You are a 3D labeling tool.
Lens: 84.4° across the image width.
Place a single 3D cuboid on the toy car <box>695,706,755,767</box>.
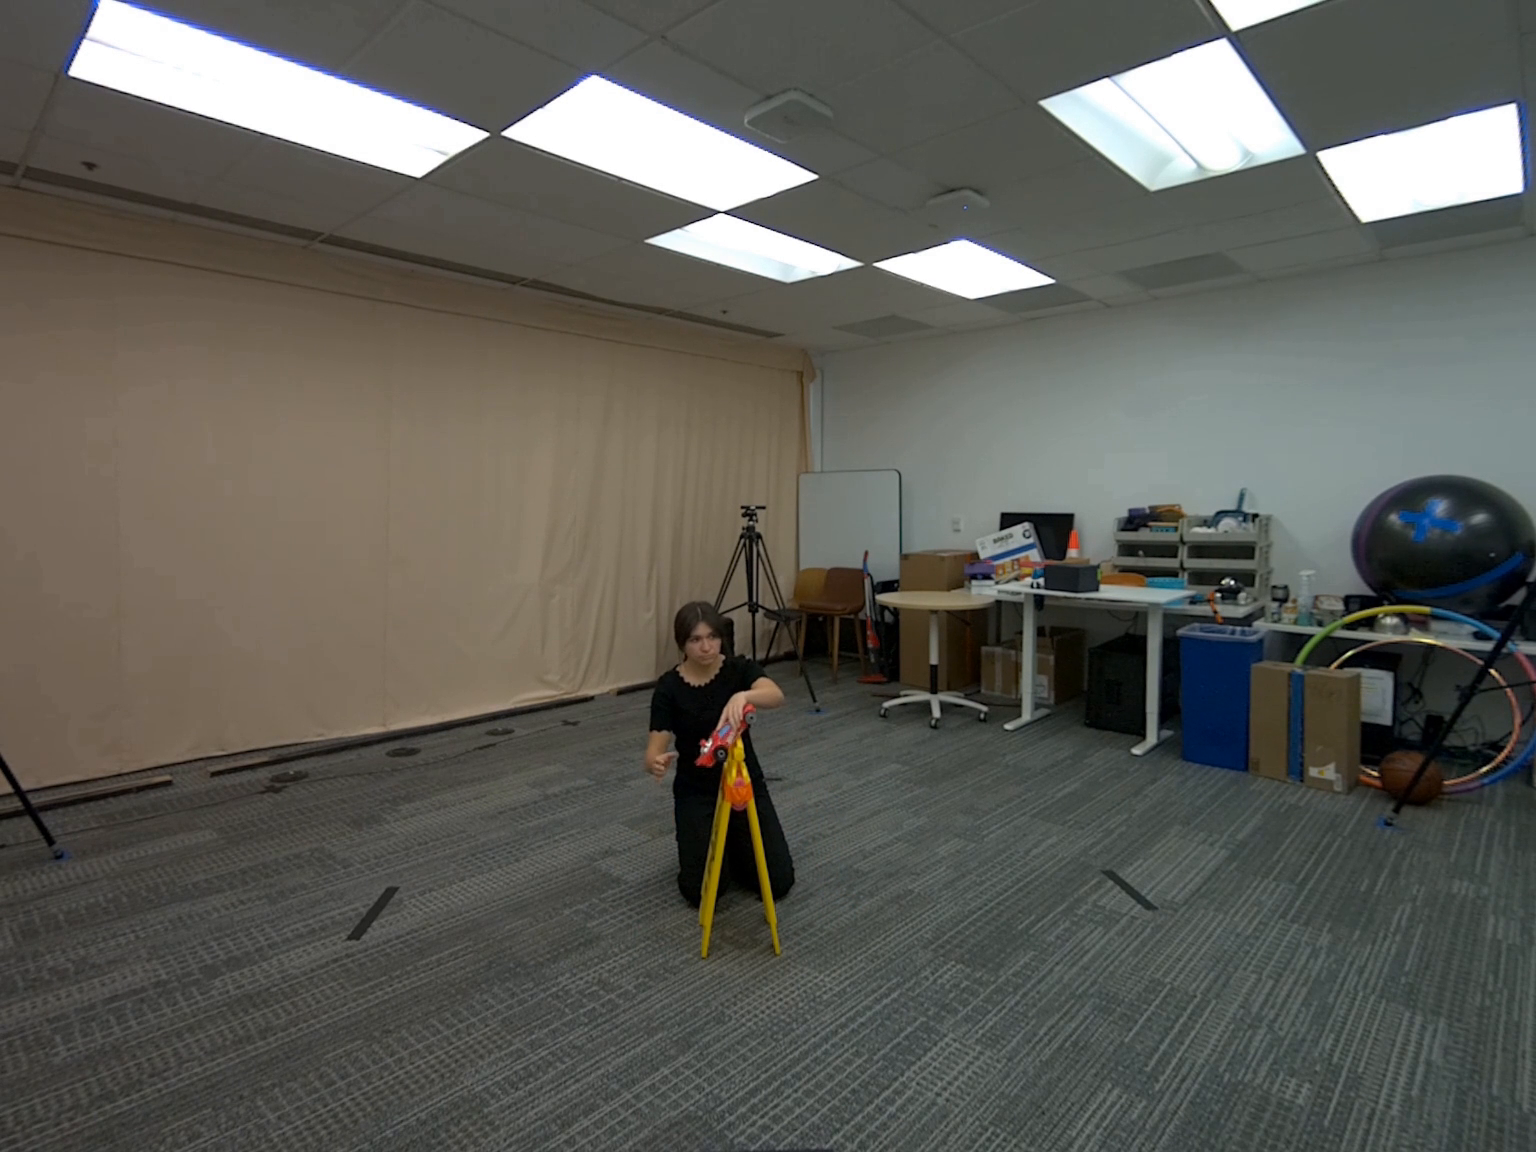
[{"bbox_3d":[-0.132,0.518,2.708,0.253,0.082,0.132,-41,10,-17],"label":"toy car"}]
